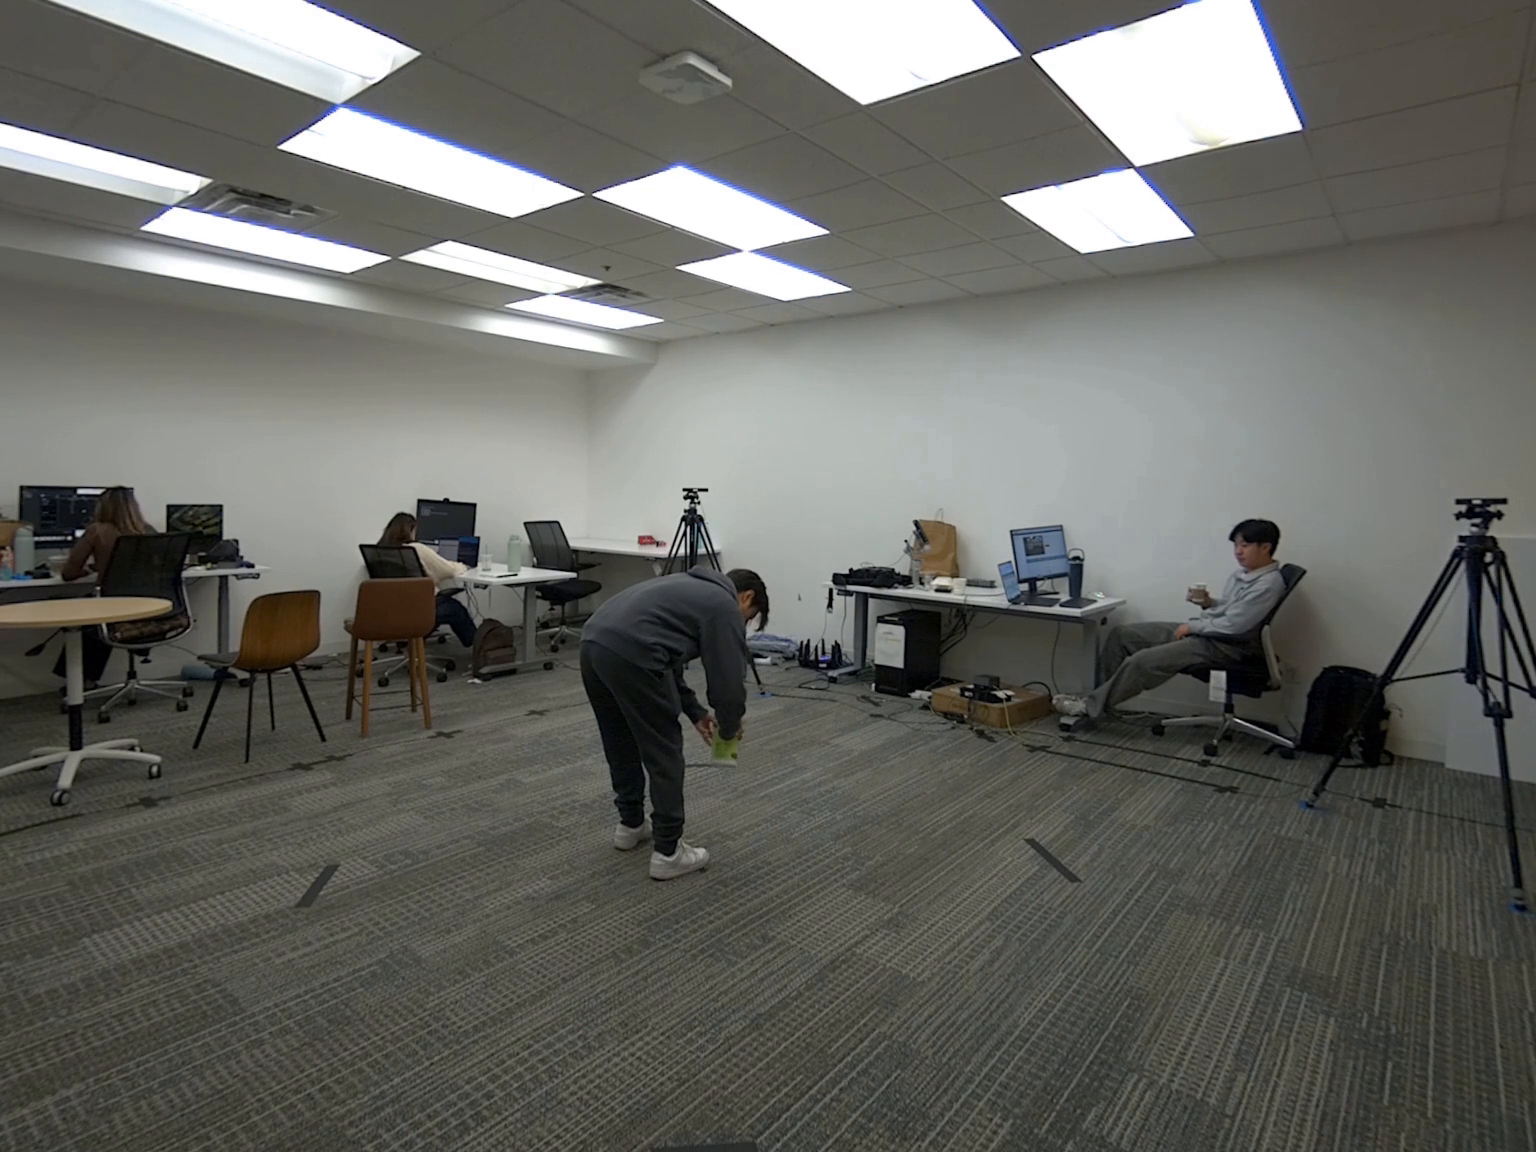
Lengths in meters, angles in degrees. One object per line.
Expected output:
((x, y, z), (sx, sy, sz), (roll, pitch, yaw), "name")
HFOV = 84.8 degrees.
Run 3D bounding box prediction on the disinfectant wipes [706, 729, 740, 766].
((-0.181, 0.647, 3.404), (0.118, 0.220, 0.116), (5, -16, 0), "disinfectant wipes")
